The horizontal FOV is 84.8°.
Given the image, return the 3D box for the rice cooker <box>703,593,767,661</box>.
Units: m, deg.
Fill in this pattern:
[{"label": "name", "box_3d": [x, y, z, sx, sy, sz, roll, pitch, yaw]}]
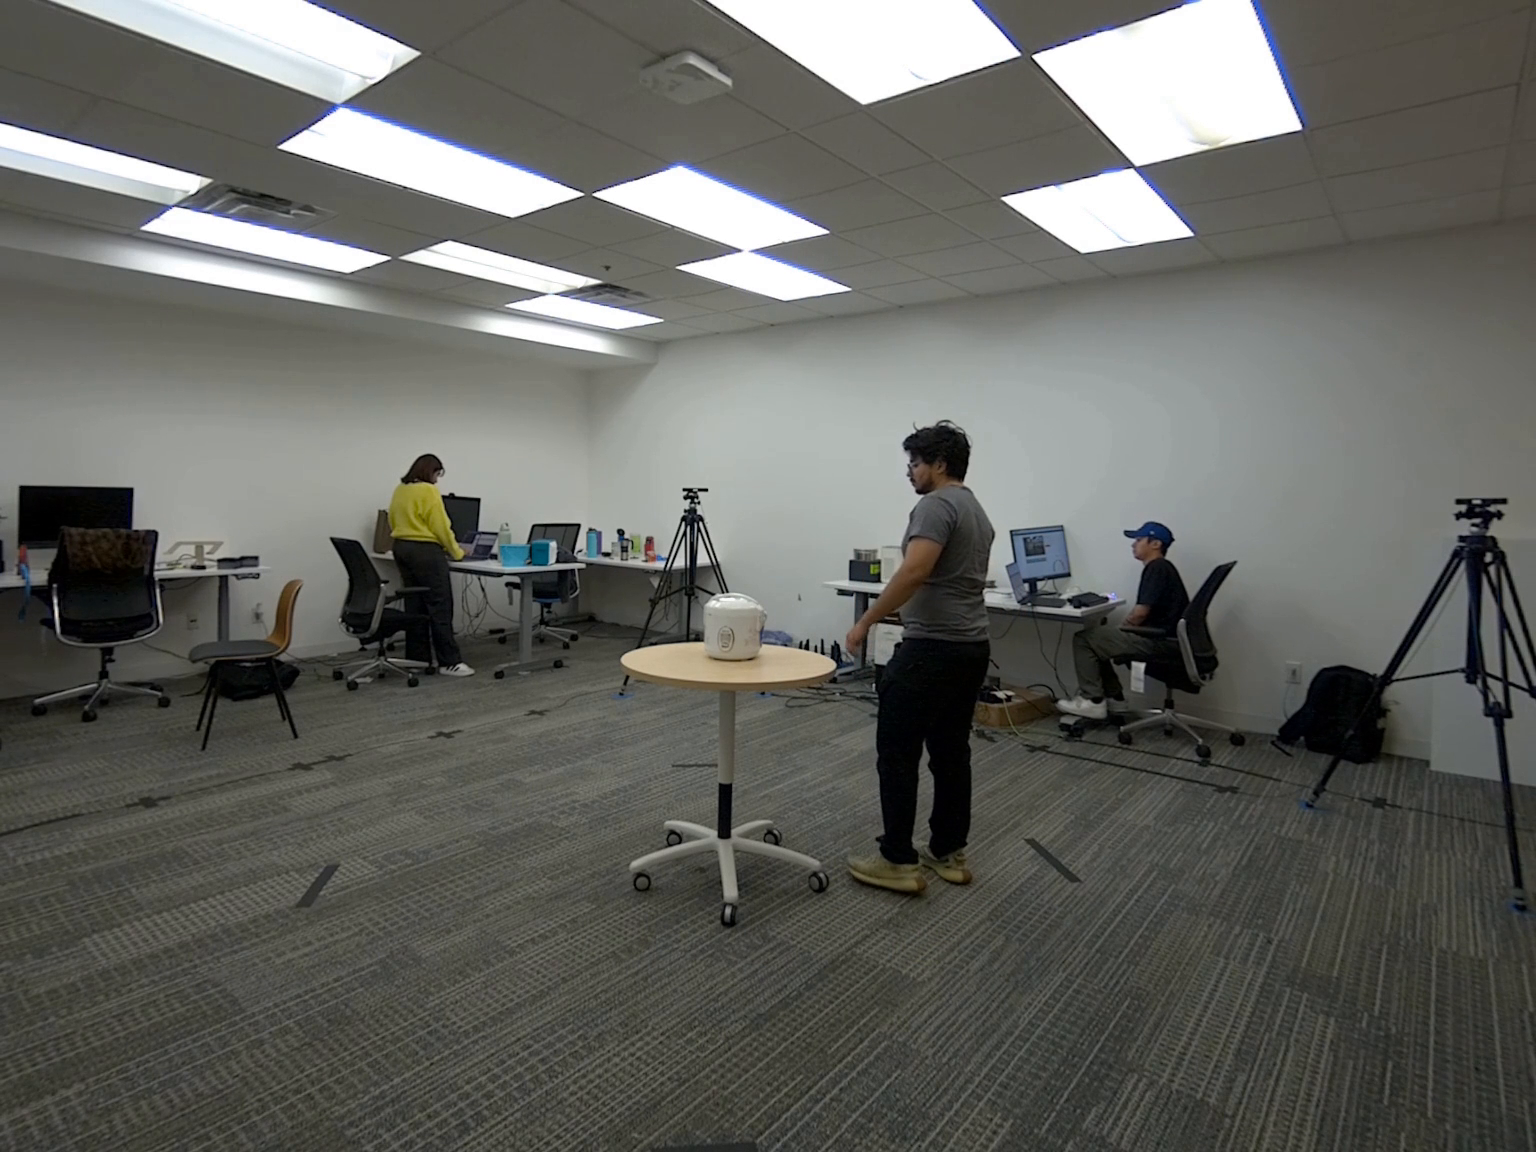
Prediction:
[{"label": "rice cooker", "box_3d": [-0.135, 0.174, 3.100, 0.224, 0.232, 0.215, 2, 3, 11]}]
